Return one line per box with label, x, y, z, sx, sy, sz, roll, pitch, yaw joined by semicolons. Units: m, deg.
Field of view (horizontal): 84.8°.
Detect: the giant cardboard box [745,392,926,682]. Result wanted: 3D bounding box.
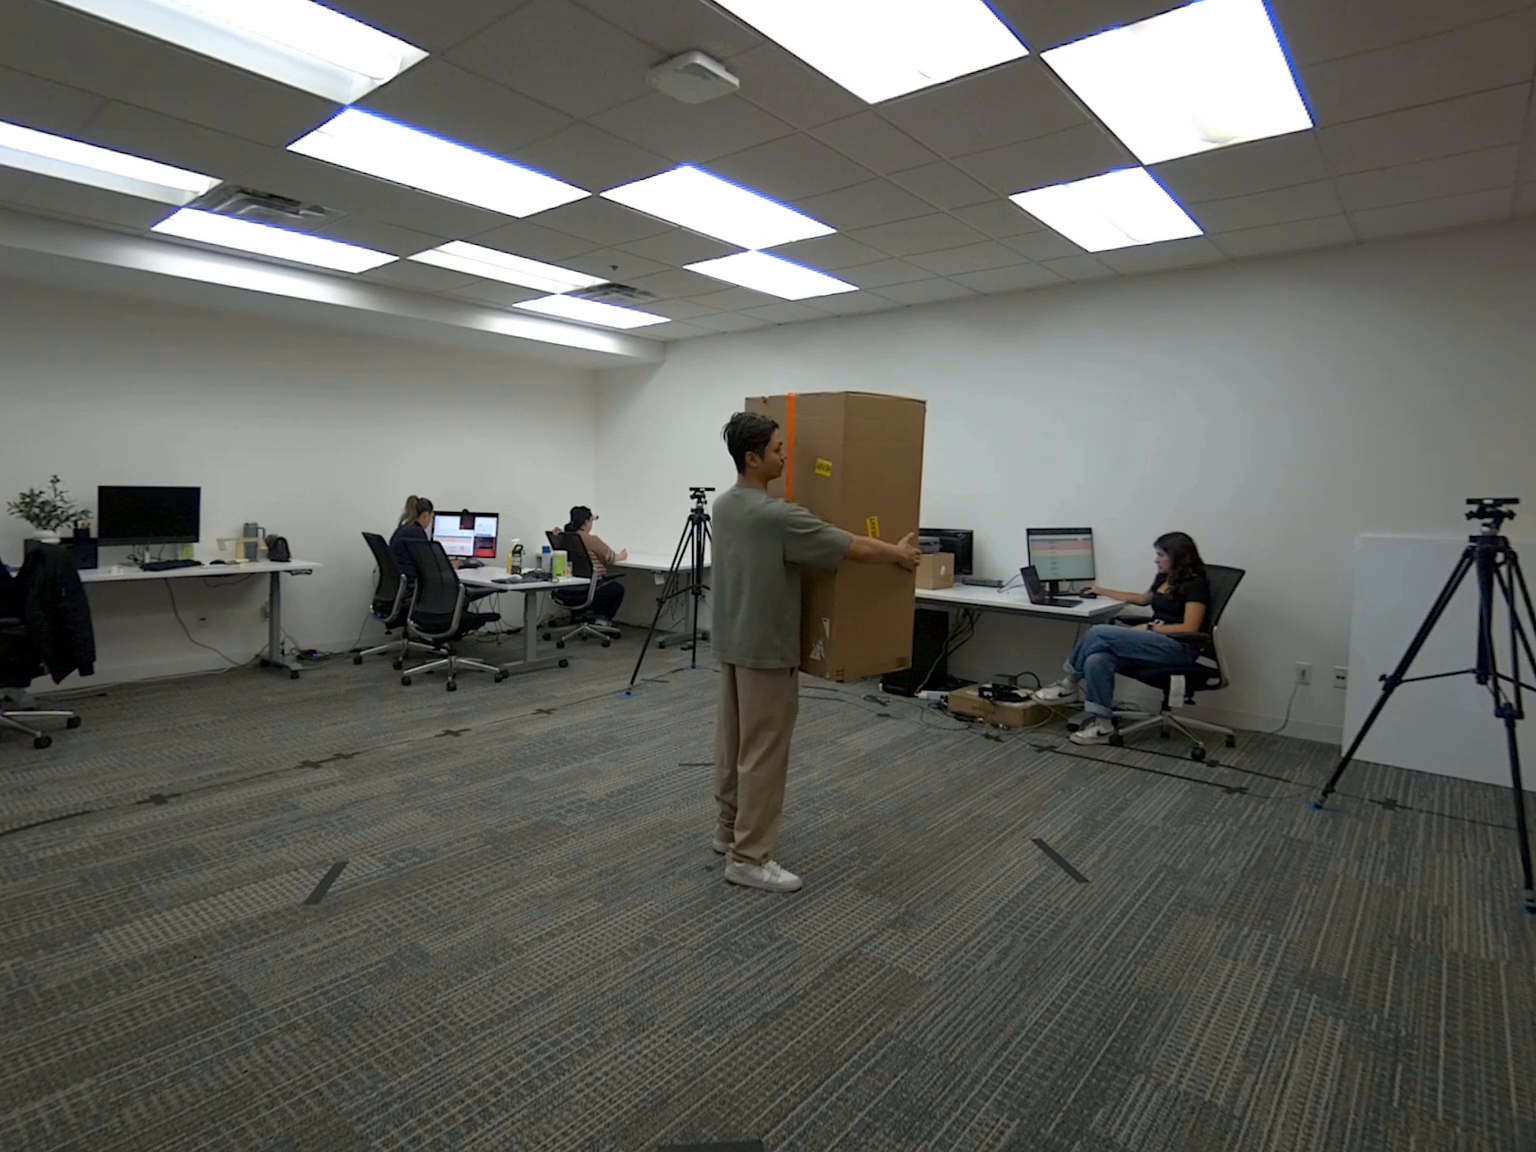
giant cardboard box;0.222;-0.184;3.310;0.413;1.021;0.598;-1;7;-37
